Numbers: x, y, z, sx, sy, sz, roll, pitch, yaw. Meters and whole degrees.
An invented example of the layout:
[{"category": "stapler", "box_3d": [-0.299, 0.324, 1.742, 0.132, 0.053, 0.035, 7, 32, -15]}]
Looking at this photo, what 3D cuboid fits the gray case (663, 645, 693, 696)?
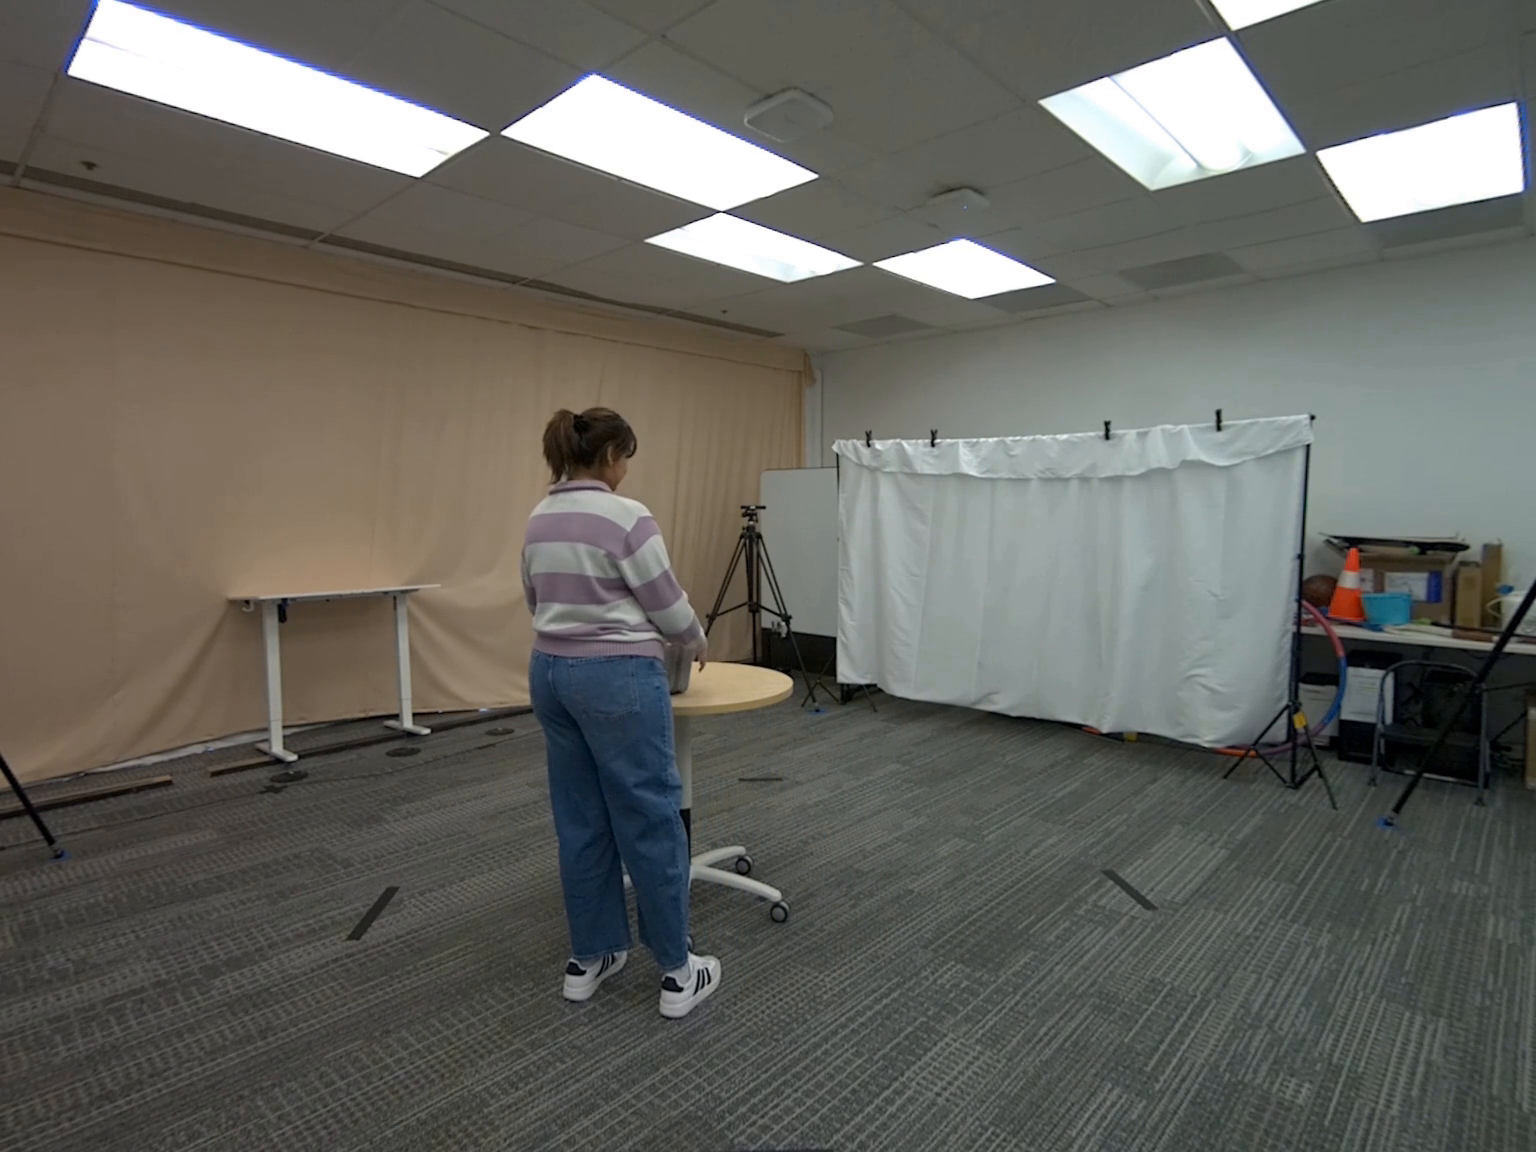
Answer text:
[{"category": "gray case", "box_3d": [-0.364, 0.244, 2.787, 0.265, 0.261, 0.100, 2, -8, 39]}]
